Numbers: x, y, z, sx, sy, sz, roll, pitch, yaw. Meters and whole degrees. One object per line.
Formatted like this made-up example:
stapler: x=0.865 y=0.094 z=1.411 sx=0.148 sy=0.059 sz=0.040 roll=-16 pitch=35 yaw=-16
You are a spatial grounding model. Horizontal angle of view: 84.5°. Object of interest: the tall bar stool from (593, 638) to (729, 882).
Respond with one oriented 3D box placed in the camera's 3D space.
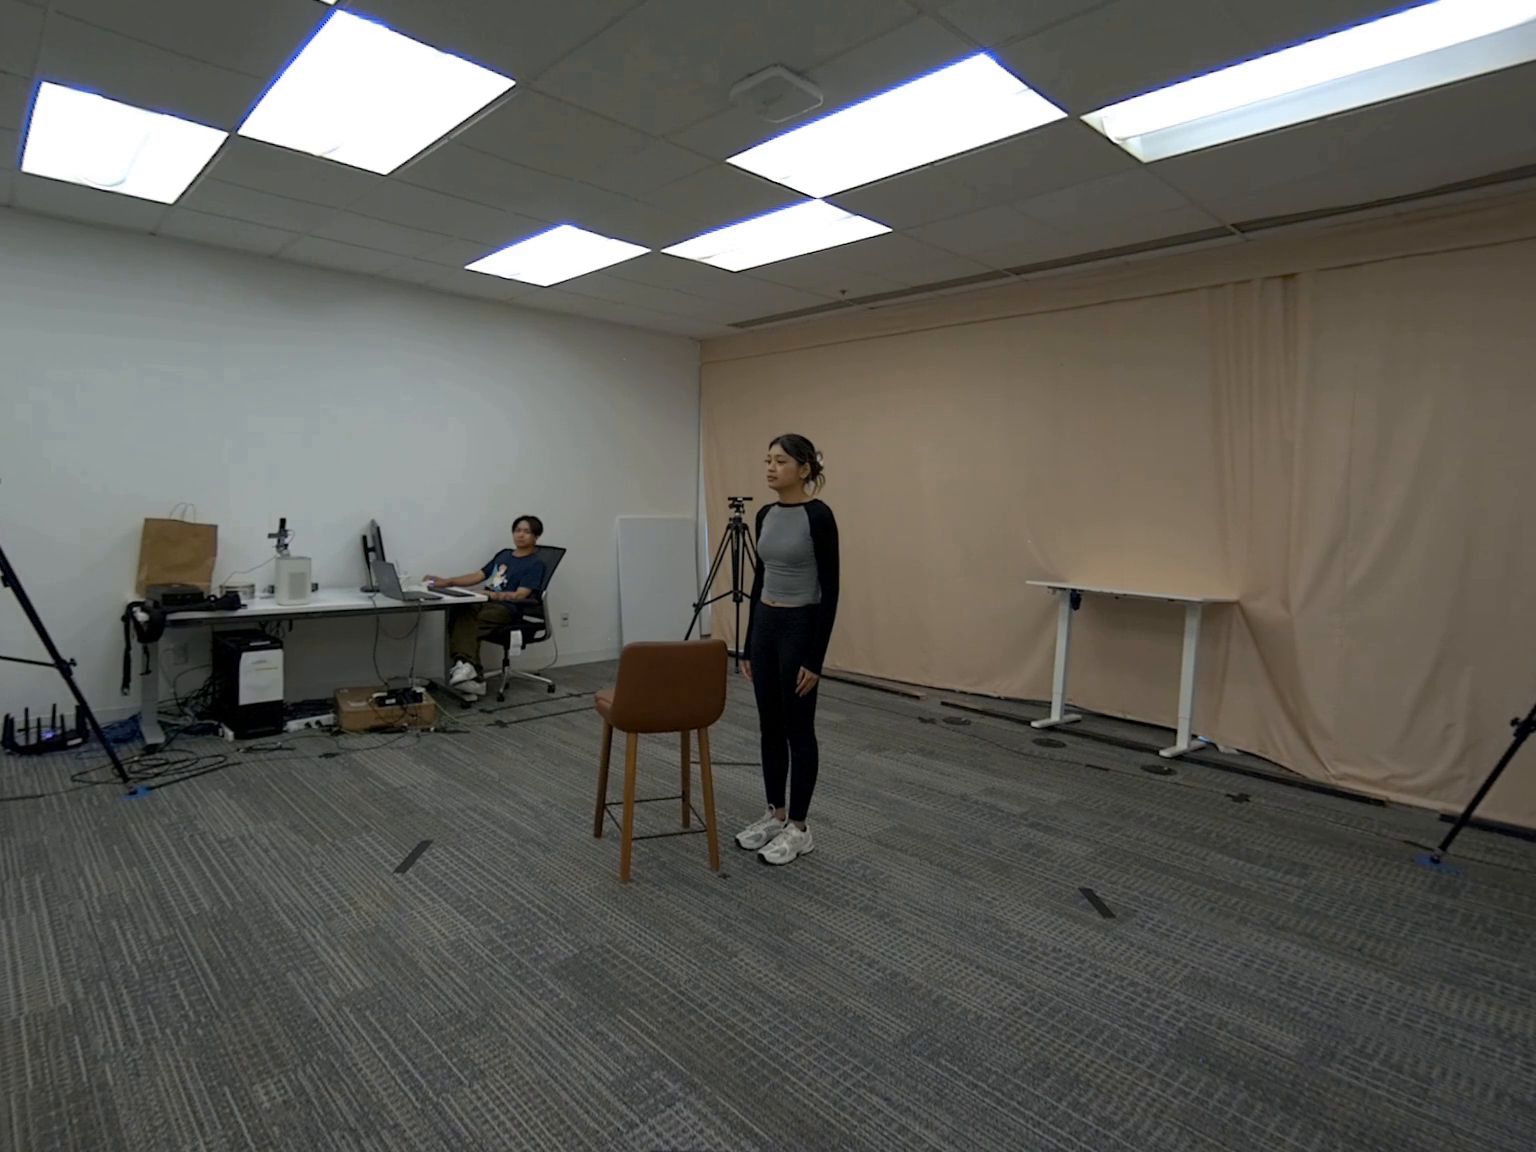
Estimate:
tall bar stool: x=-0.435 y=0.652 z=3.269 sx=0.449 sy=0.887 sz=0.477 roll=0 pitch=5 yaw=-22
